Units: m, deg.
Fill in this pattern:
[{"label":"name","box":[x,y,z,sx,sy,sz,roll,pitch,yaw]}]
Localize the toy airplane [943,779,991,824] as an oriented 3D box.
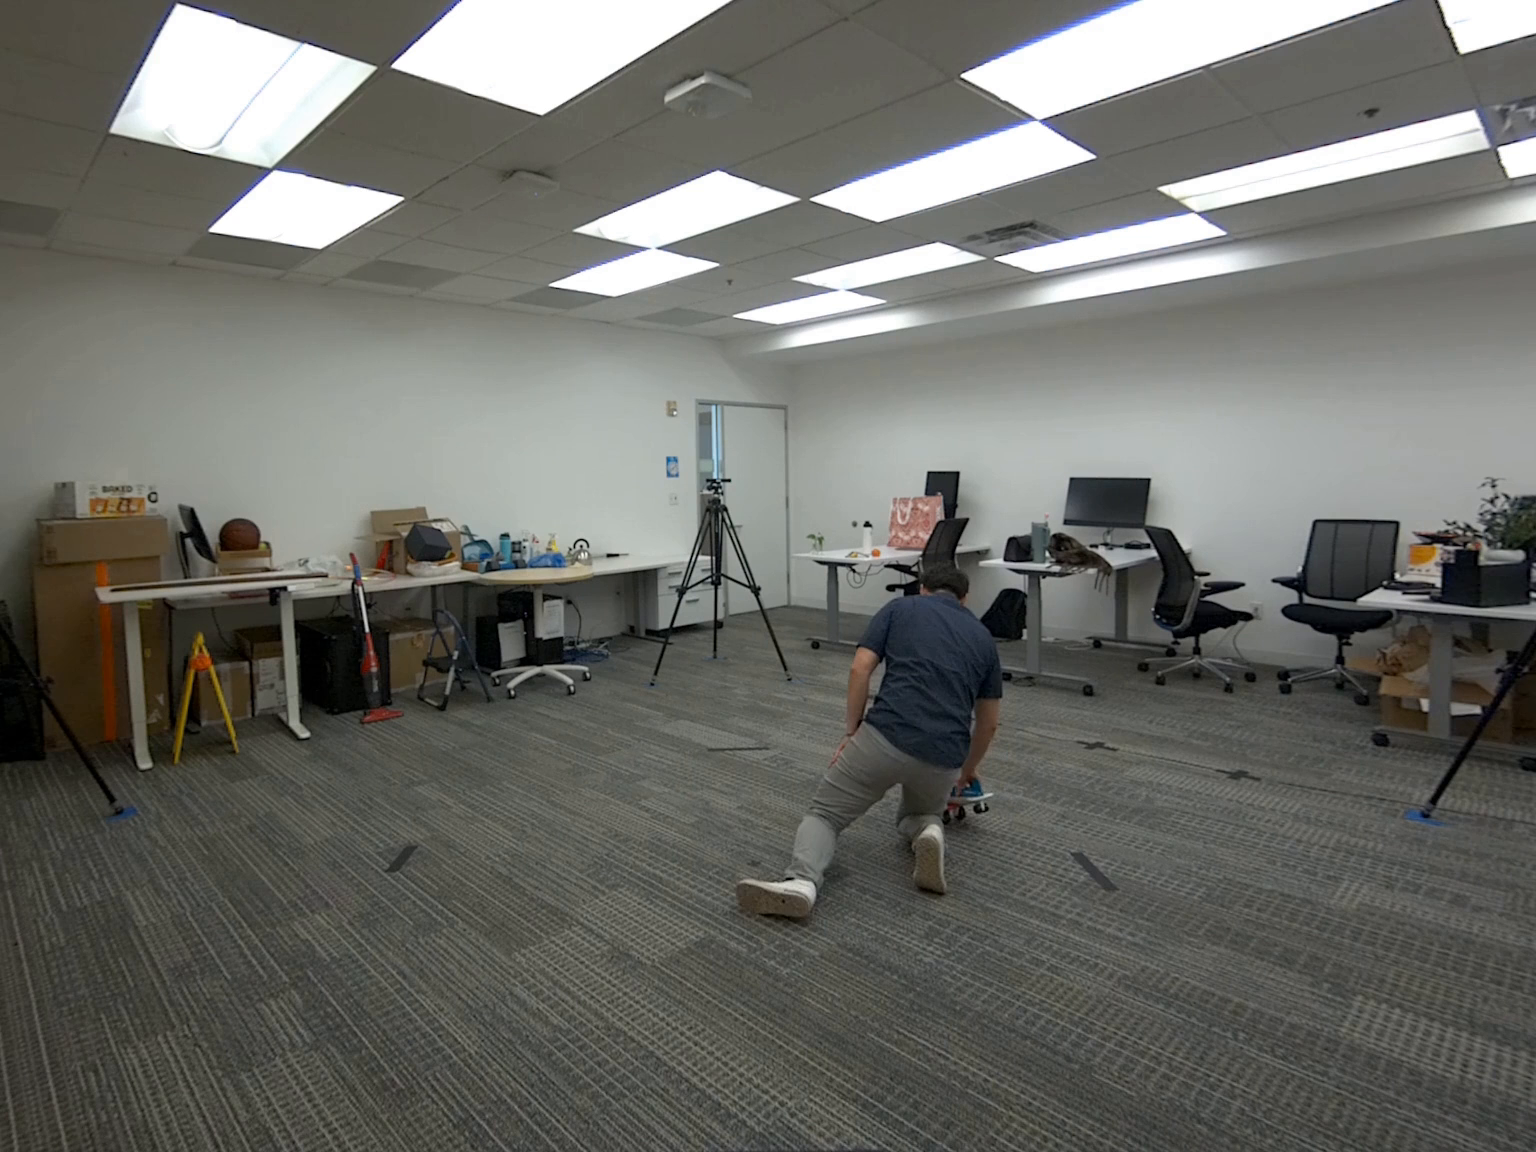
[{"label":"toy airplane","box":[0.784,0.891,3.422,0.262,0.160,0.243,-27,-23,27]}]
